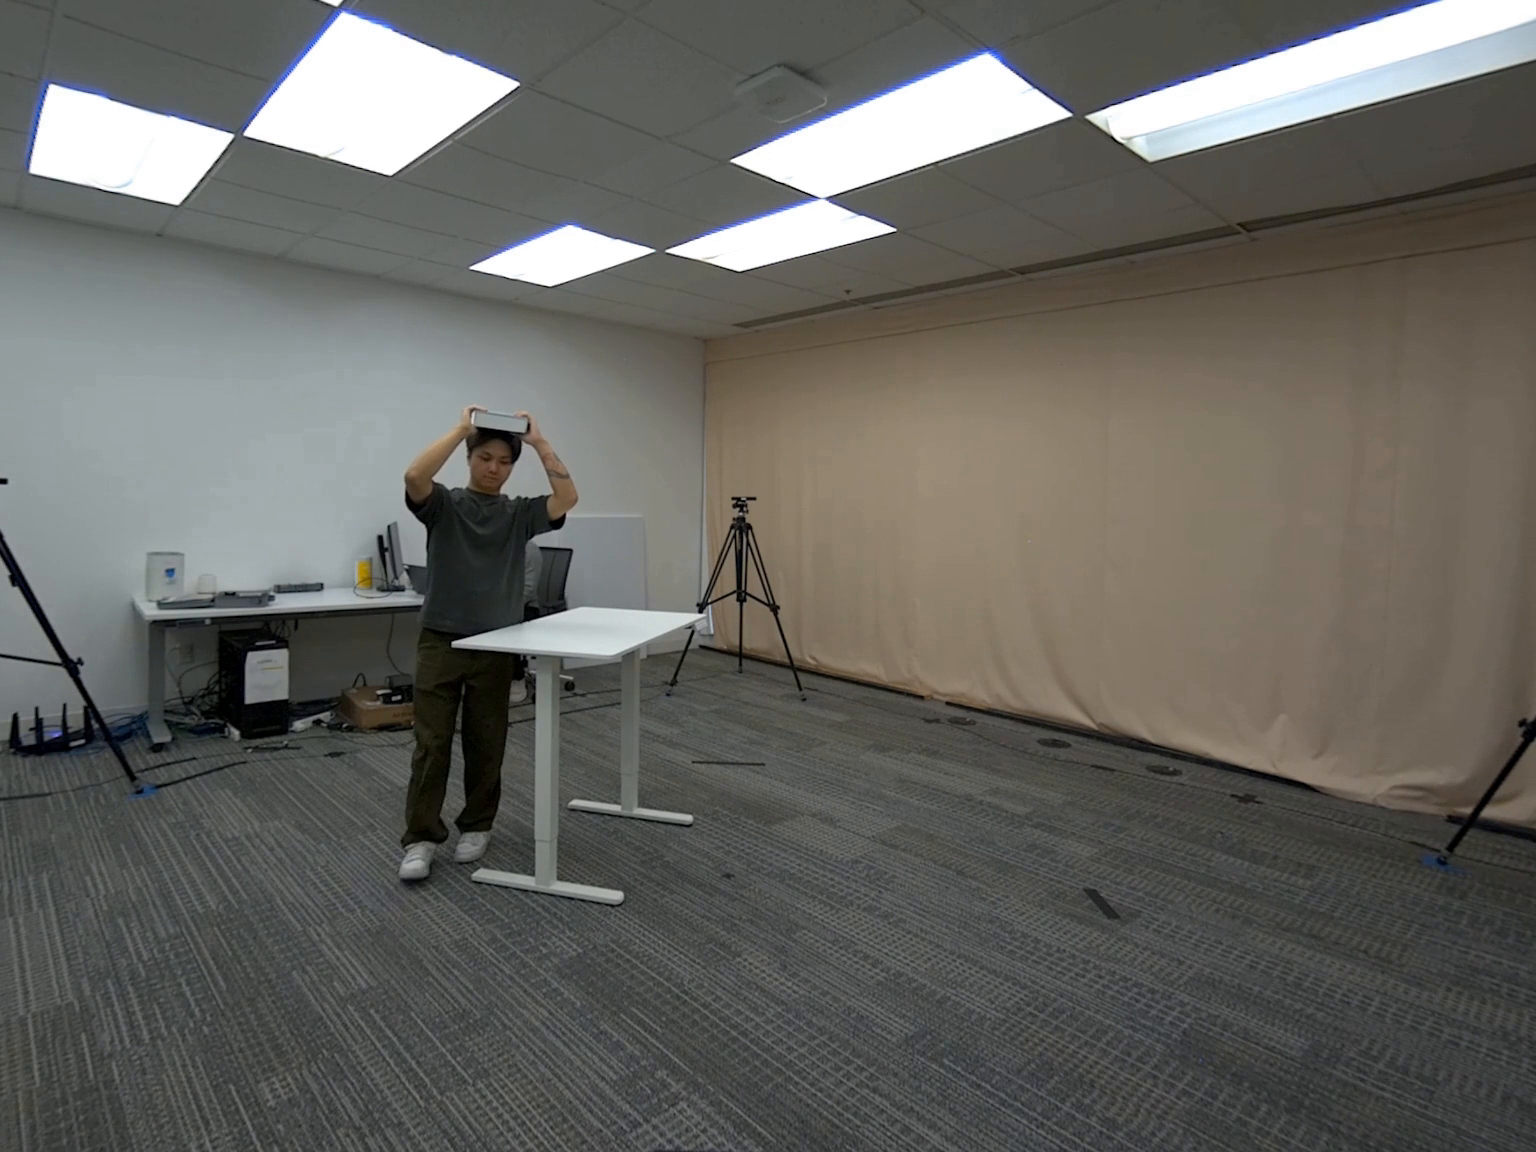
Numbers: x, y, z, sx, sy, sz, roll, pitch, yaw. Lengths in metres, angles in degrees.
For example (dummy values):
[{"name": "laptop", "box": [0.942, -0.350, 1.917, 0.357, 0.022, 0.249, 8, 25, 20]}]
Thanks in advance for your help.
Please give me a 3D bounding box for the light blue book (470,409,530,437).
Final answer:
[{"name": "light blue book", "box": [-1.025, -0.586, 3.163, 0.188, 0.059, 0.266, 6, 9, -18]}]
